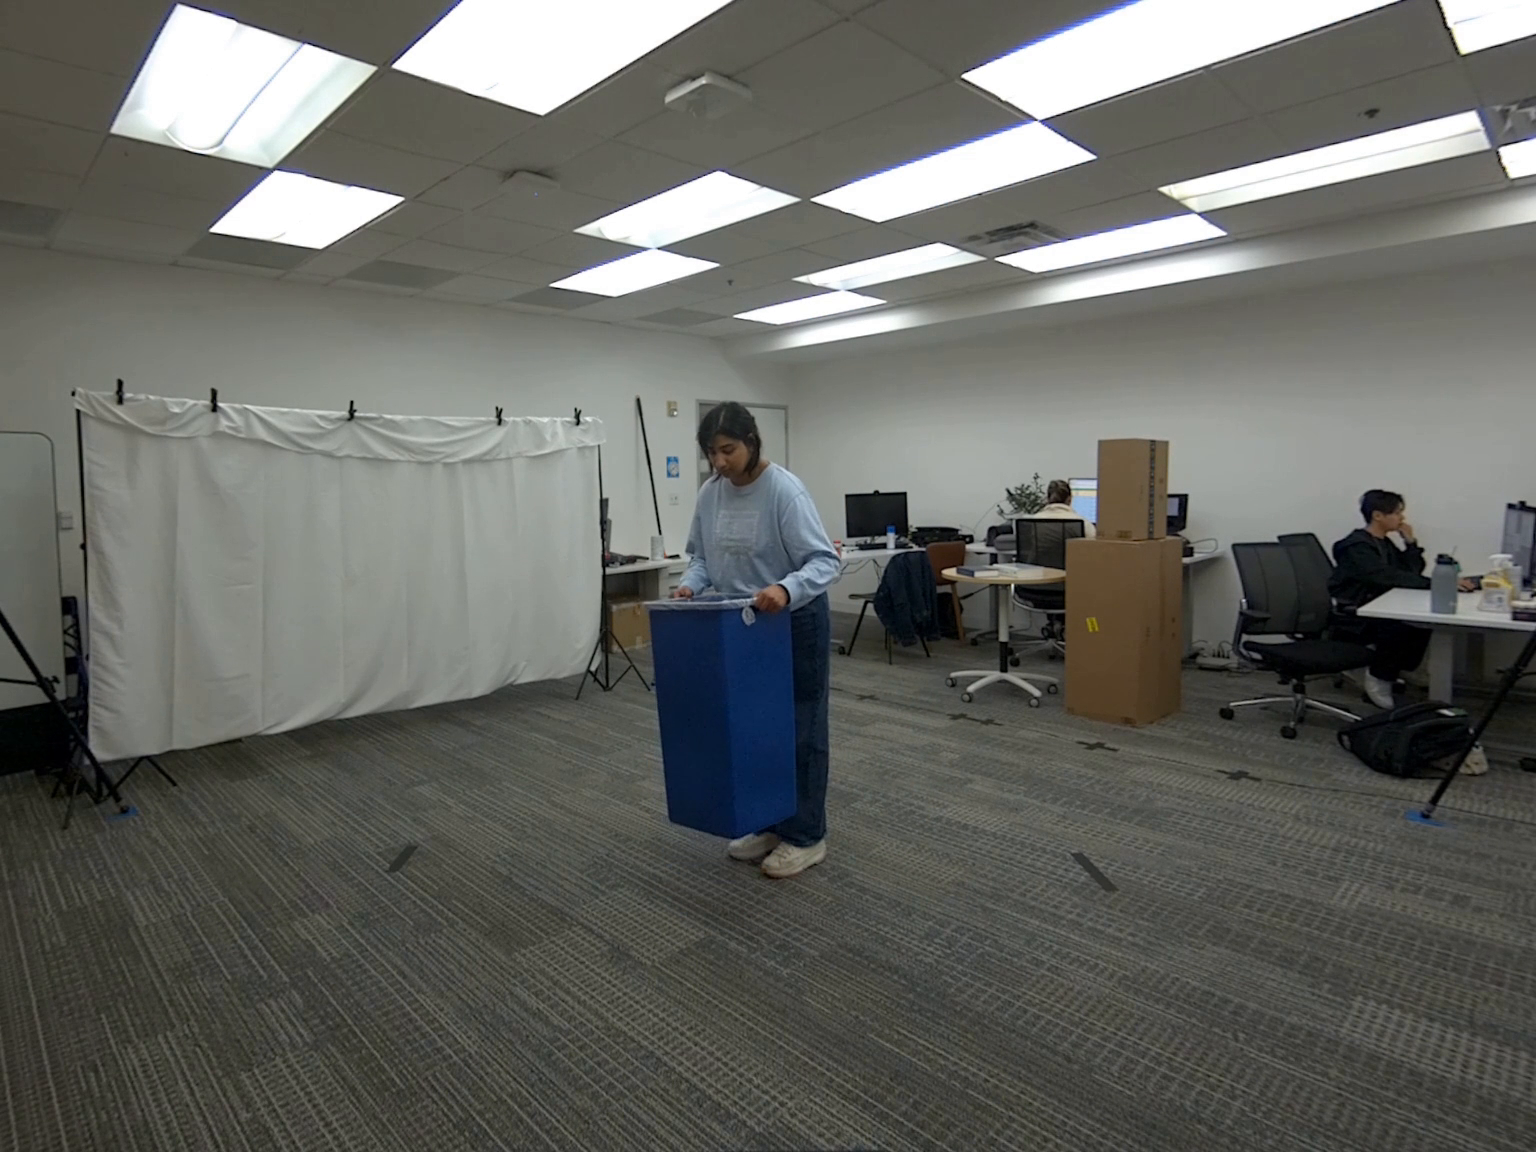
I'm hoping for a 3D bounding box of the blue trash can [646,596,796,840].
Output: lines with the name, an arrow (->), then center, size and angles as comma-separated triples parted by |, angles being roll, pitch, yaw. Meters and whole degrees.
blue trash can -> -0.141, 0.436, 2.762 | 0.384, 0.713, 0.368 | -2, 1, 42
